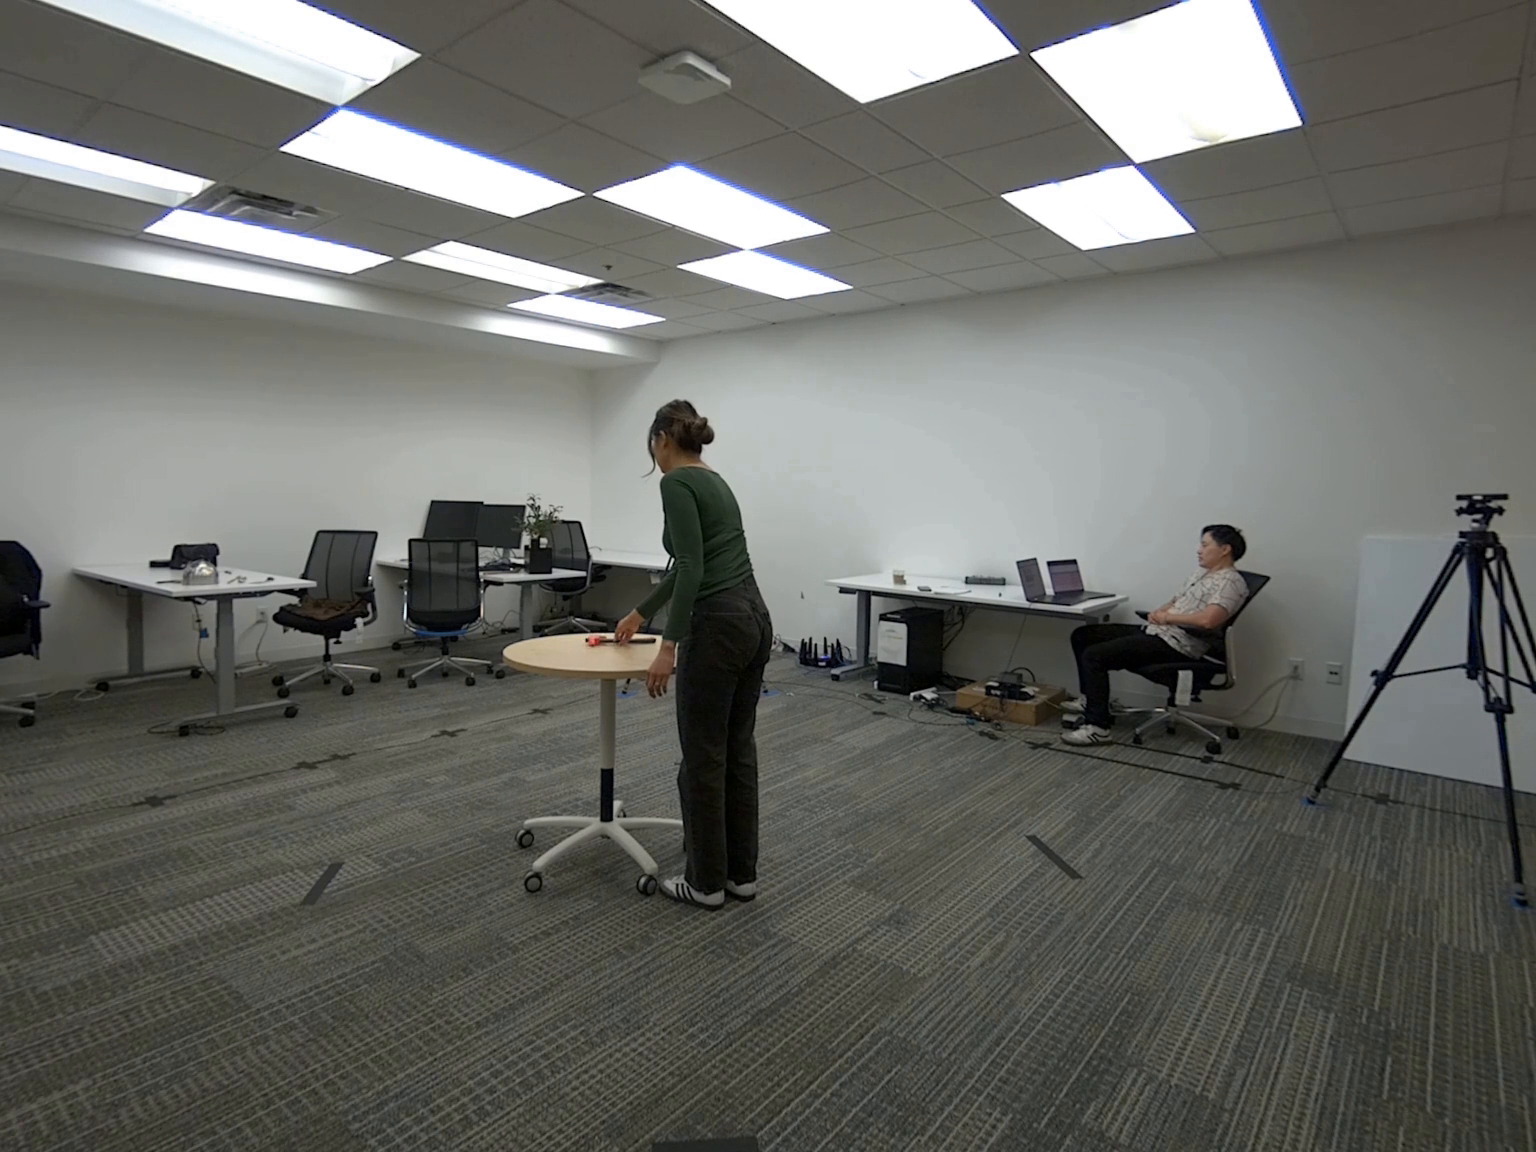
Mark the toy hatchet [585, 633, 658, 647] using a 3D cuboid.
[{"bbox_3d":[-0.598,0.244,3.314,0.262,0.029,0.135,0,9,-31],"label":"toy hatchet"}]
